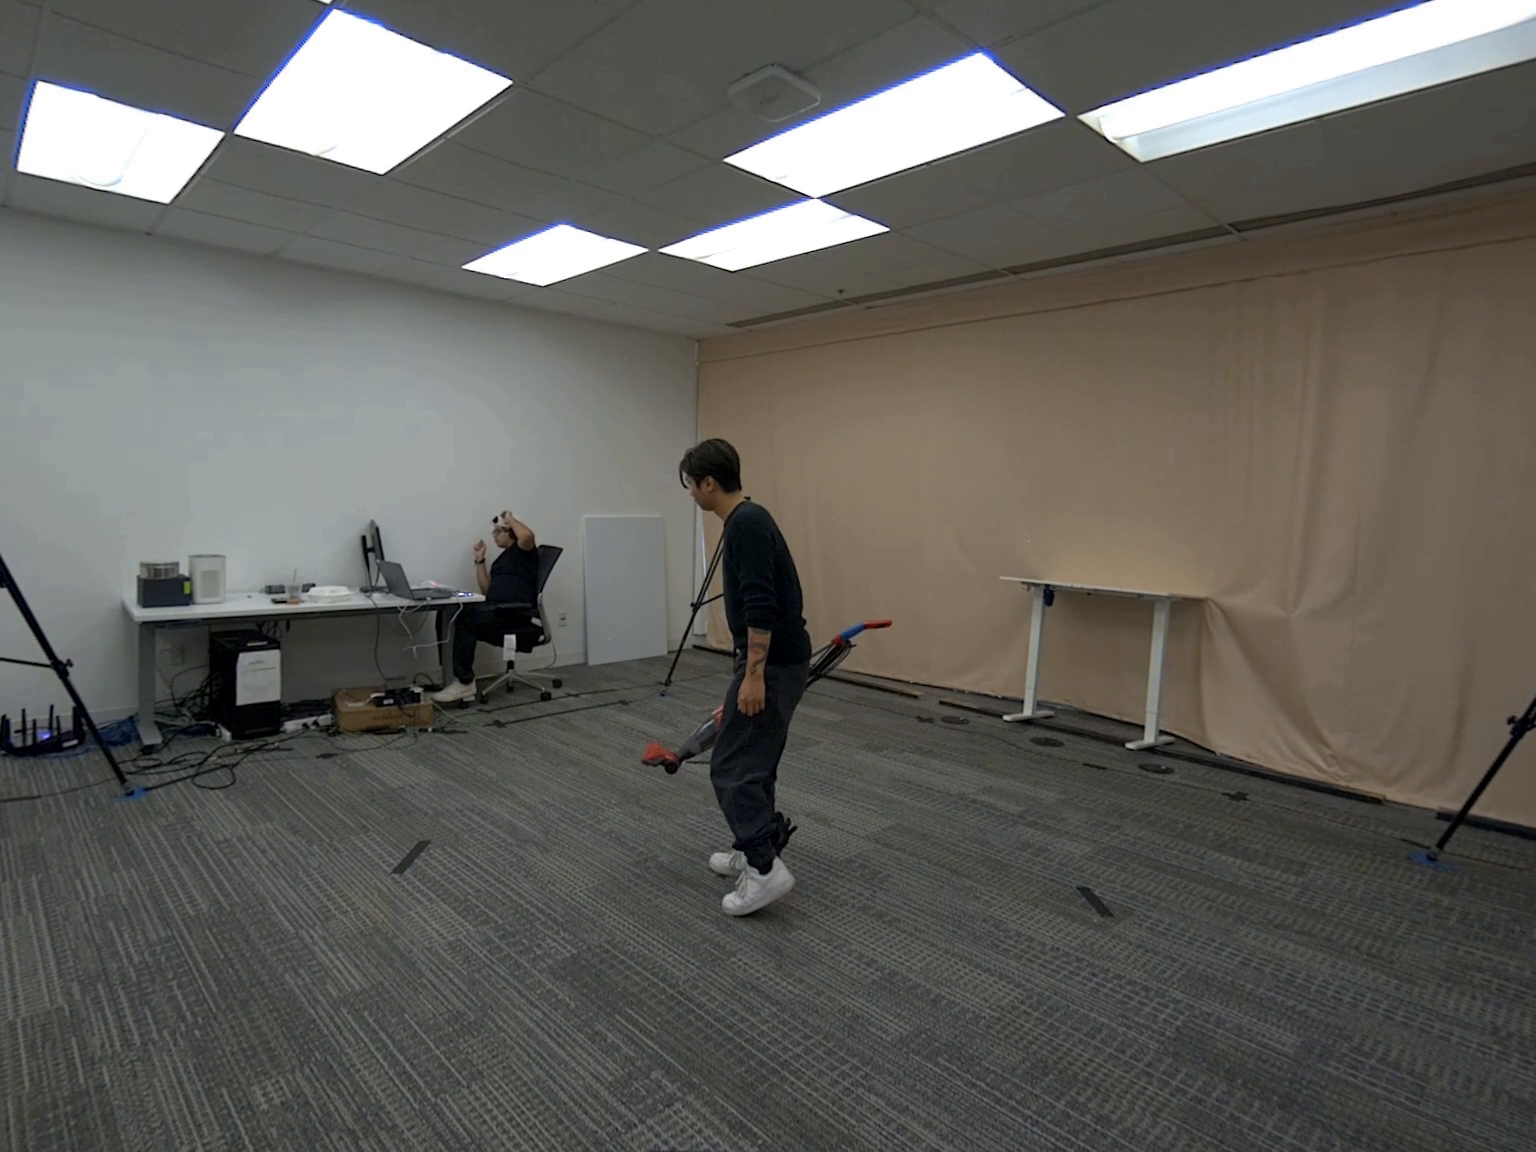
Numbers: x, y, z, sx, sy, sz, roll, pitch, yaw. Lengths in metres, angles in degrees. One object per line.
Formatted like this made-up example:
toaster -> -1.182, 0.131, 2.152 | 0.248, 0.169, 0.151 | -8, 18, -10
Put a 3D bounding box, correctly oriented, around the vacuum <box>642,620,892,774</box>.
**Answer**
vacuum -> 0.012, 0.452, 3.284 | 1.050, 0.143, 0.254 | -34, 6, 2
